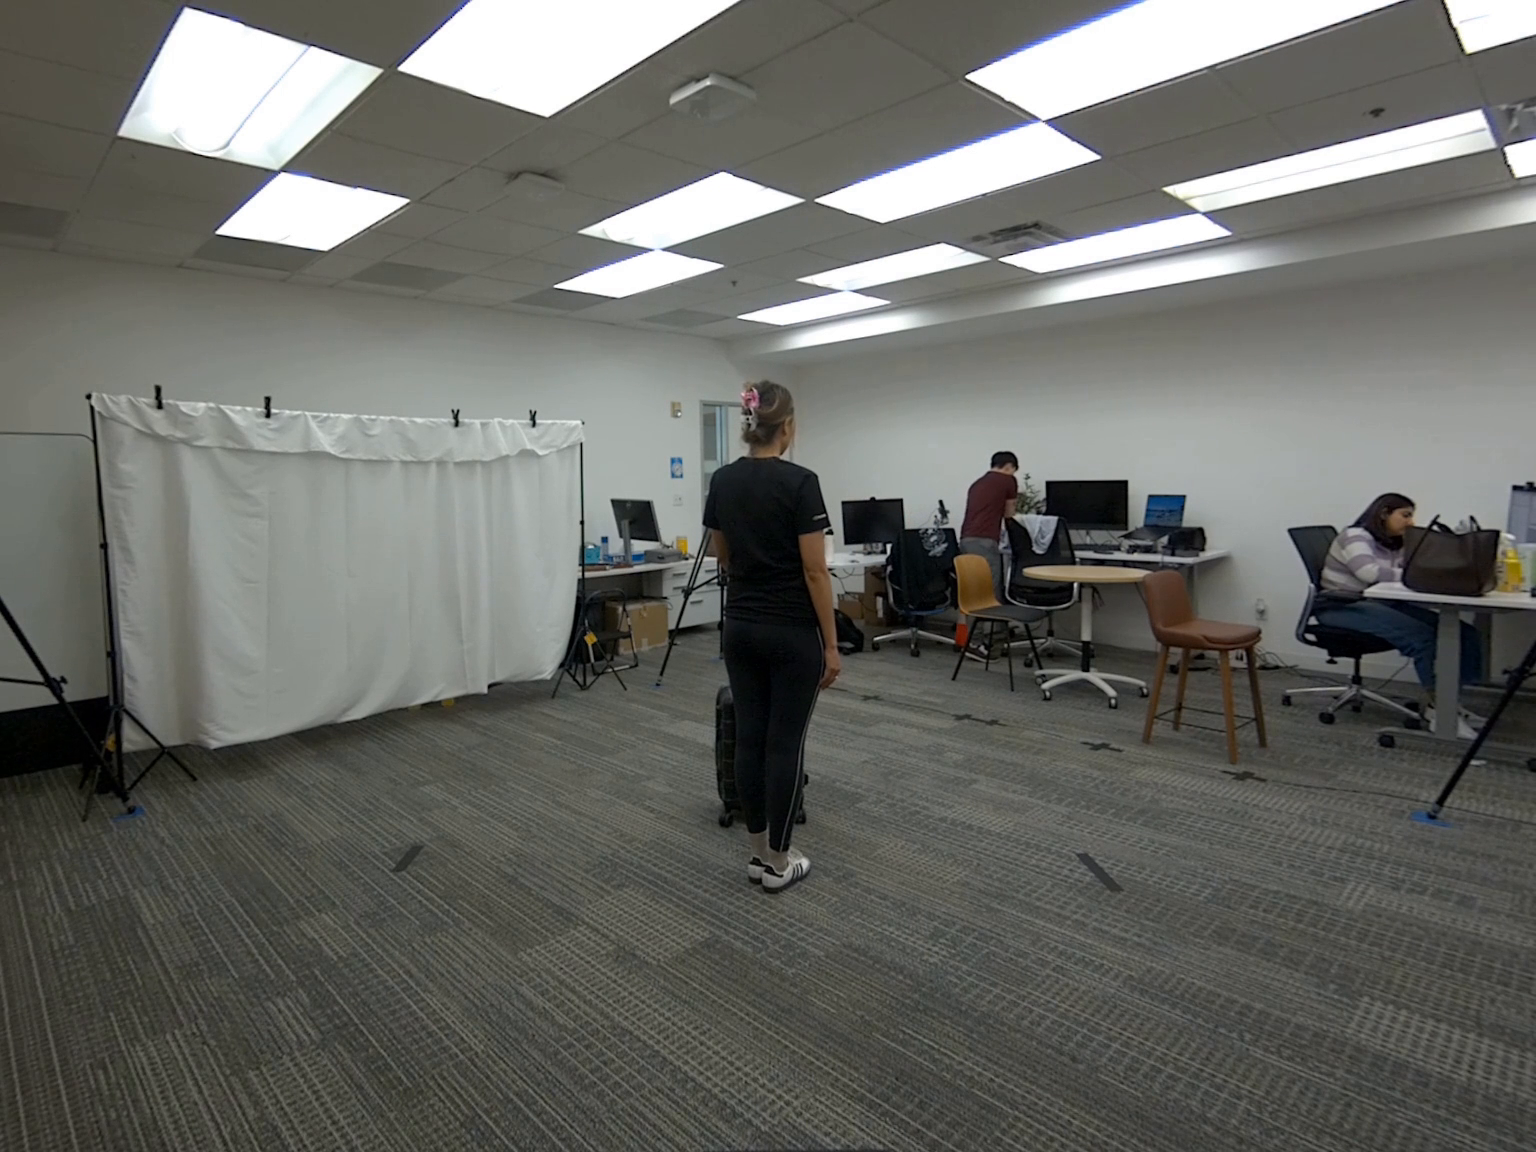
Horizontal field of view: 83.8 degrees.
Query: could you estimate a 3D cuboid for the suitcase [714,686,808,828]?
[{"bbox_3d":[-0.035,0.520,3.569,0.383,0.979,0.258,-1,0,-4],"label":"suitcase"}]
